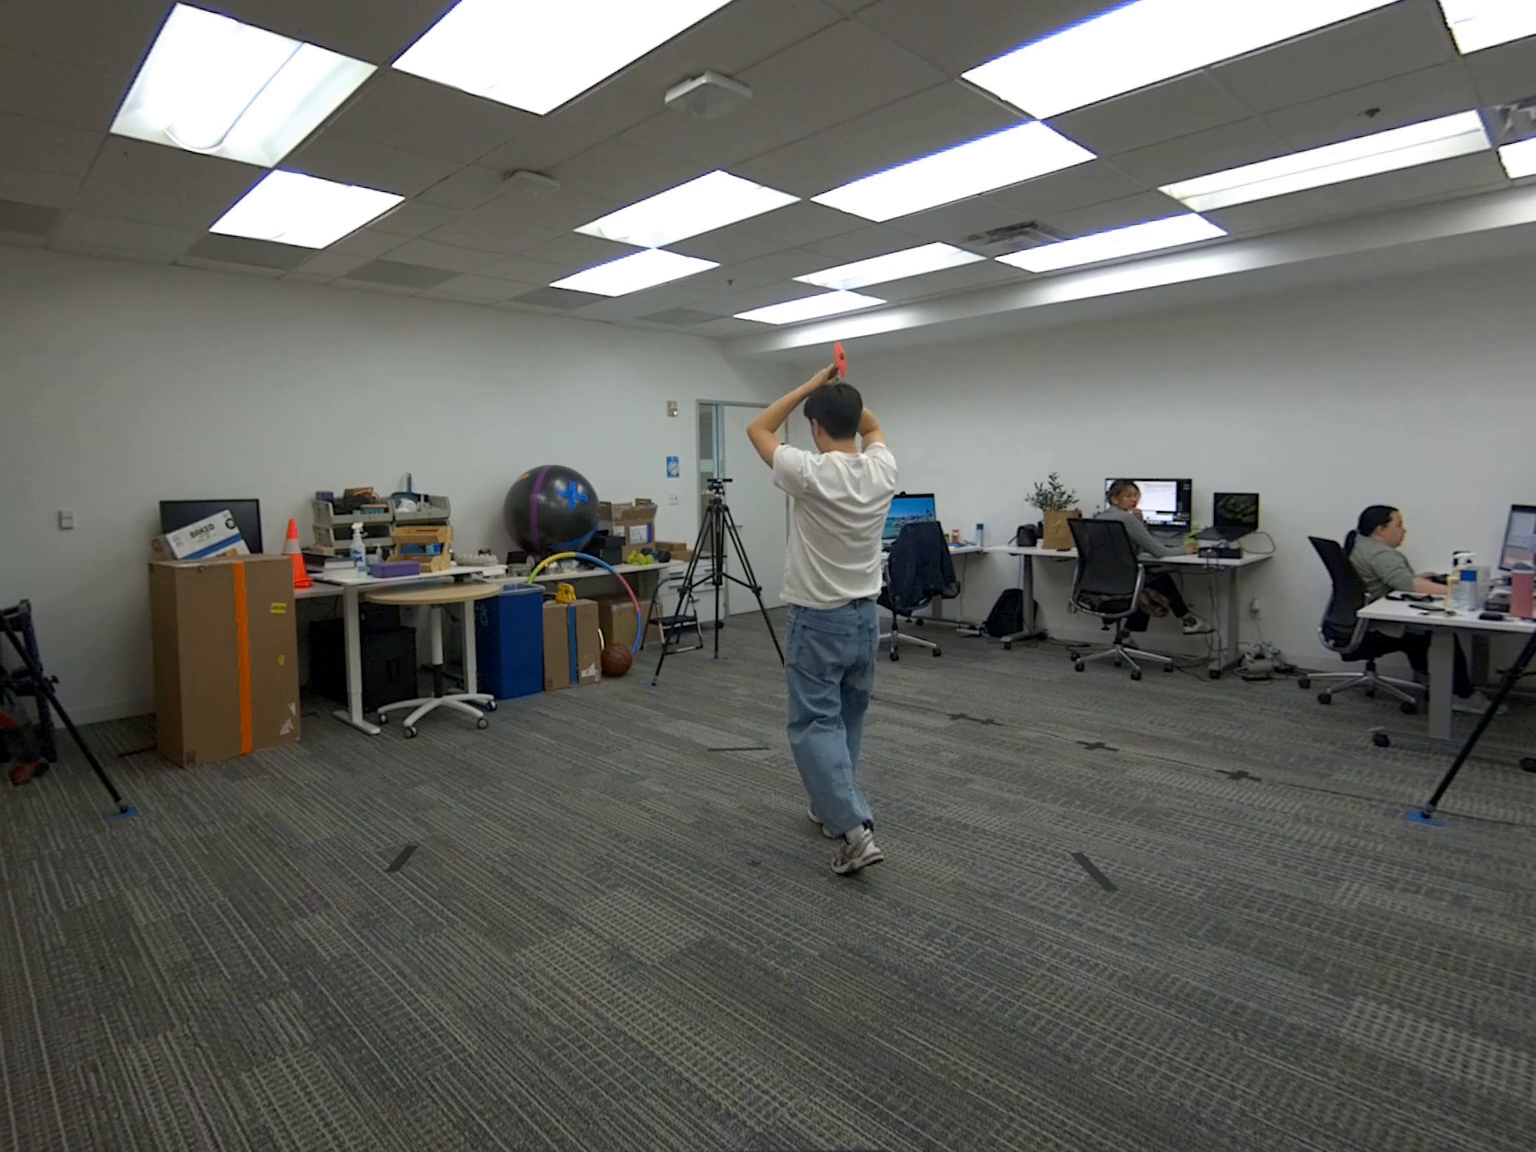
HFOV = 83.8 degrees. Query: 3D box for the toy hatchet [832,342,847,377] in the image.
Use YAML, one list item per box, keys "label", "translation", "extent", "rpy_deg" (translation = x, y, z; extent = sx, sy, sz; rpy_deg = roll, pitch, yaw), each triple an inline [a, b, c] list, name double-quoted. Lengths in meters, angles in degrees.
- label: "toy hatchet"
  translation: [0.246, -0.781, 3.141]
  extent: [0.029, 0.130, 0.272]
  rpy_deg: [-6, 6, -5]
